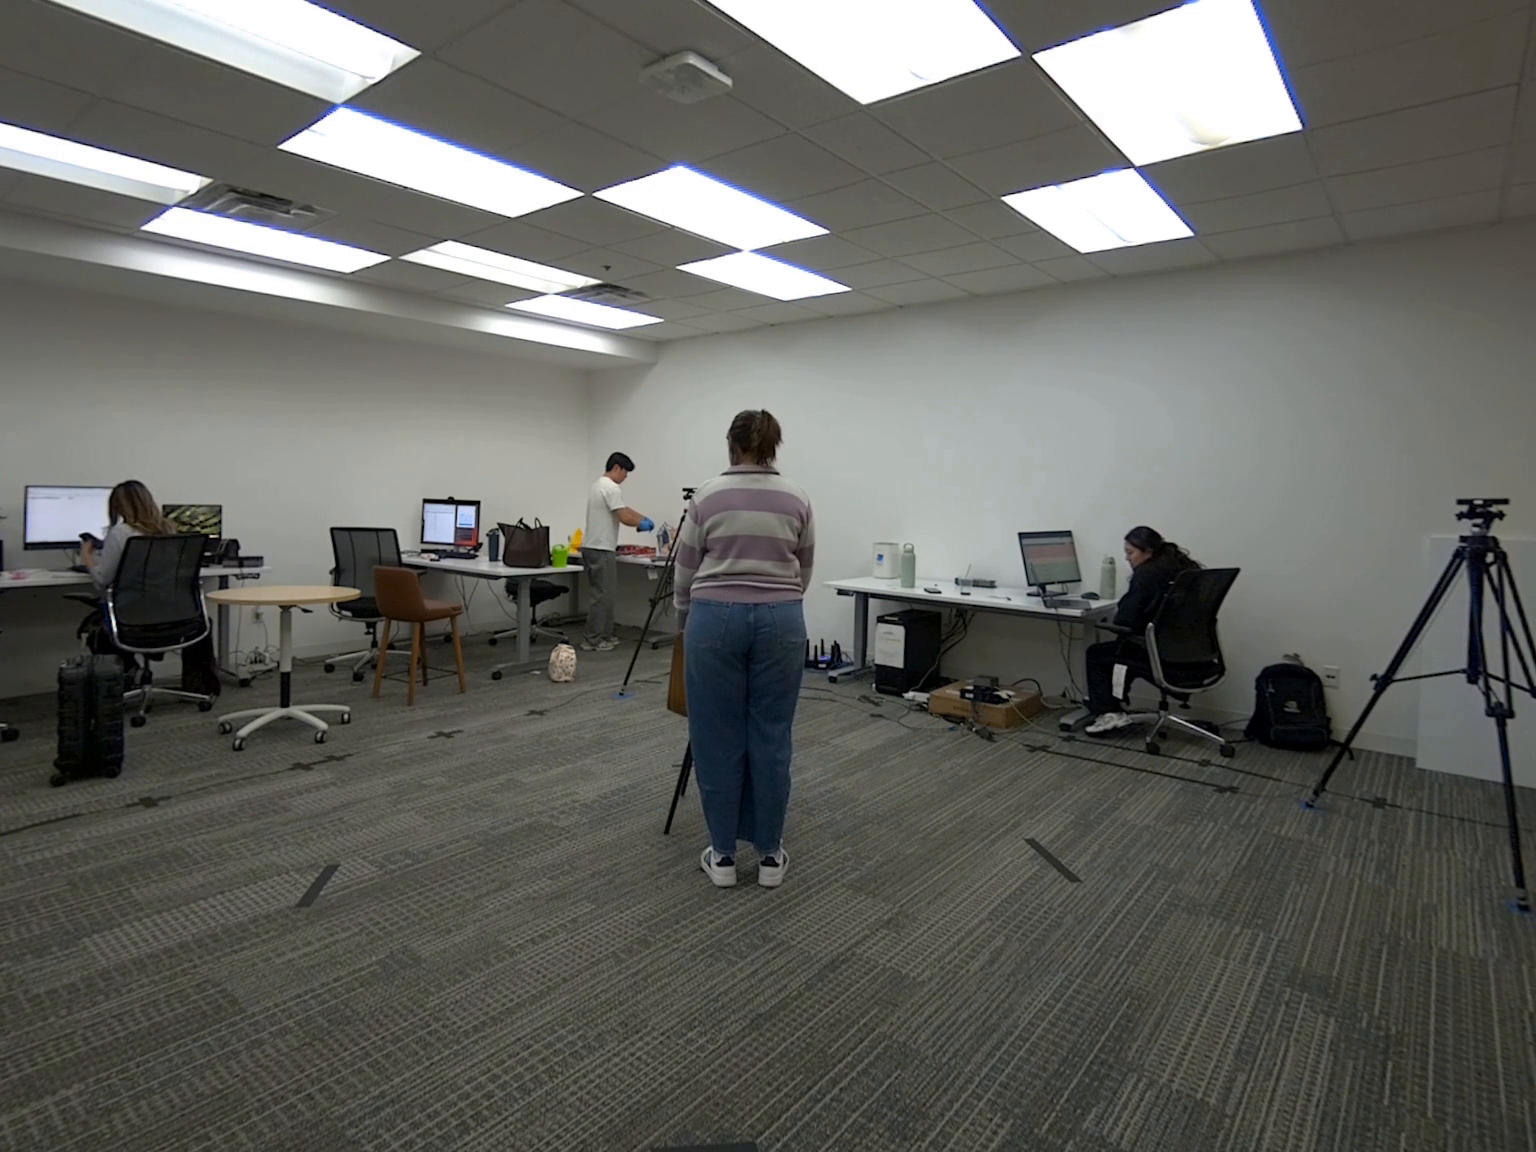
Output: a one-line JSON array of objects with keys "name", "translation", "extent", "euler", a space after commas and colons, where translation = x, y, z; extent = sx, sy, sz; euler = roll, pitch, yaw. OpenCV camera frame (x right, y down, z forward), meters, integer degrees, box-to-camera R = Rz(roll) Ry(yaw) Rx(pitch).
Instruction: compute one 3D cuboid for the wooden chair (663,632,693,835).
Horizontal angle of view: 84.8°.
[{"name": "wooden chair", "translation": [-0.192, 0.588, 3.591], "extent": [0.481, 0.871, 0.524], "euler": [1, 8, 4]}]
